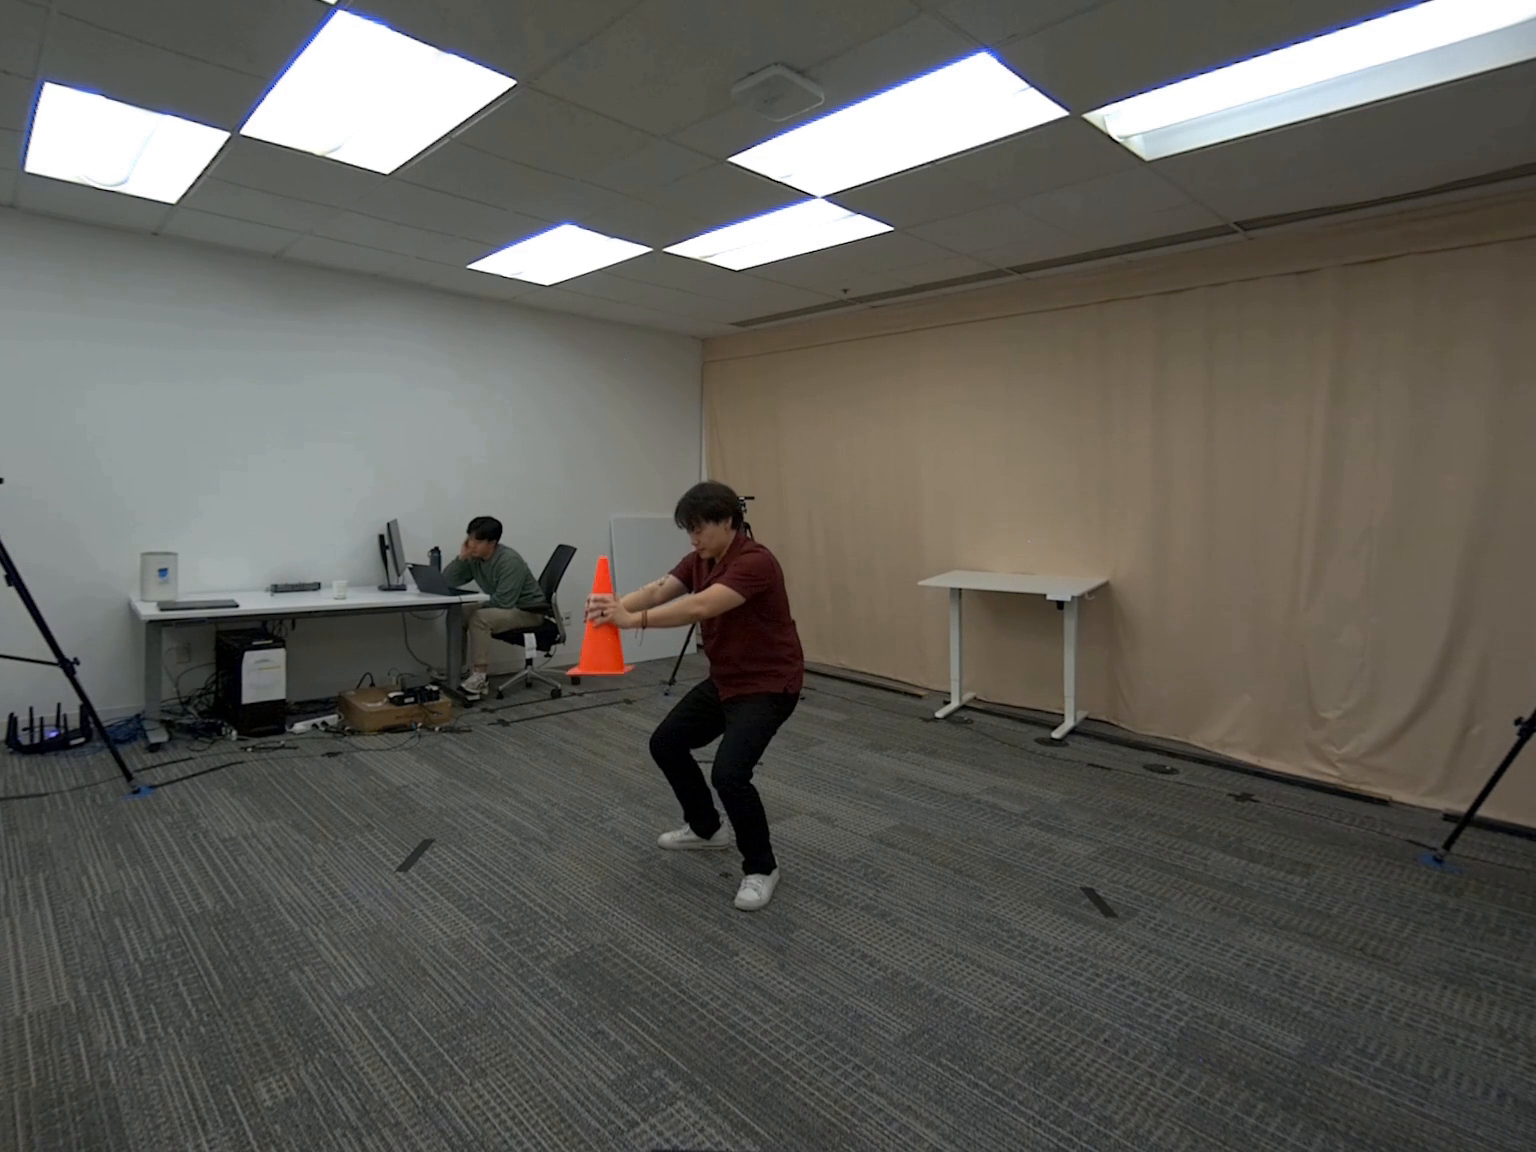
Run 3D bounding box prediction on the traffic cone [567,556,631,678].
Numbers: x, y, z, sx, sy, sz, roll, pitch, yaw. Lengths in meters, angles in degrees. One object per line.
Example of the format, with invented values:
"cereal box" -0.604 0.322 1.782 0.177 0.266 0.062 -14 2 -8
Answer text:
"traffic cone" -0.569 0.135 2.843 0.203 0.384 0.205 2 -1 -2
